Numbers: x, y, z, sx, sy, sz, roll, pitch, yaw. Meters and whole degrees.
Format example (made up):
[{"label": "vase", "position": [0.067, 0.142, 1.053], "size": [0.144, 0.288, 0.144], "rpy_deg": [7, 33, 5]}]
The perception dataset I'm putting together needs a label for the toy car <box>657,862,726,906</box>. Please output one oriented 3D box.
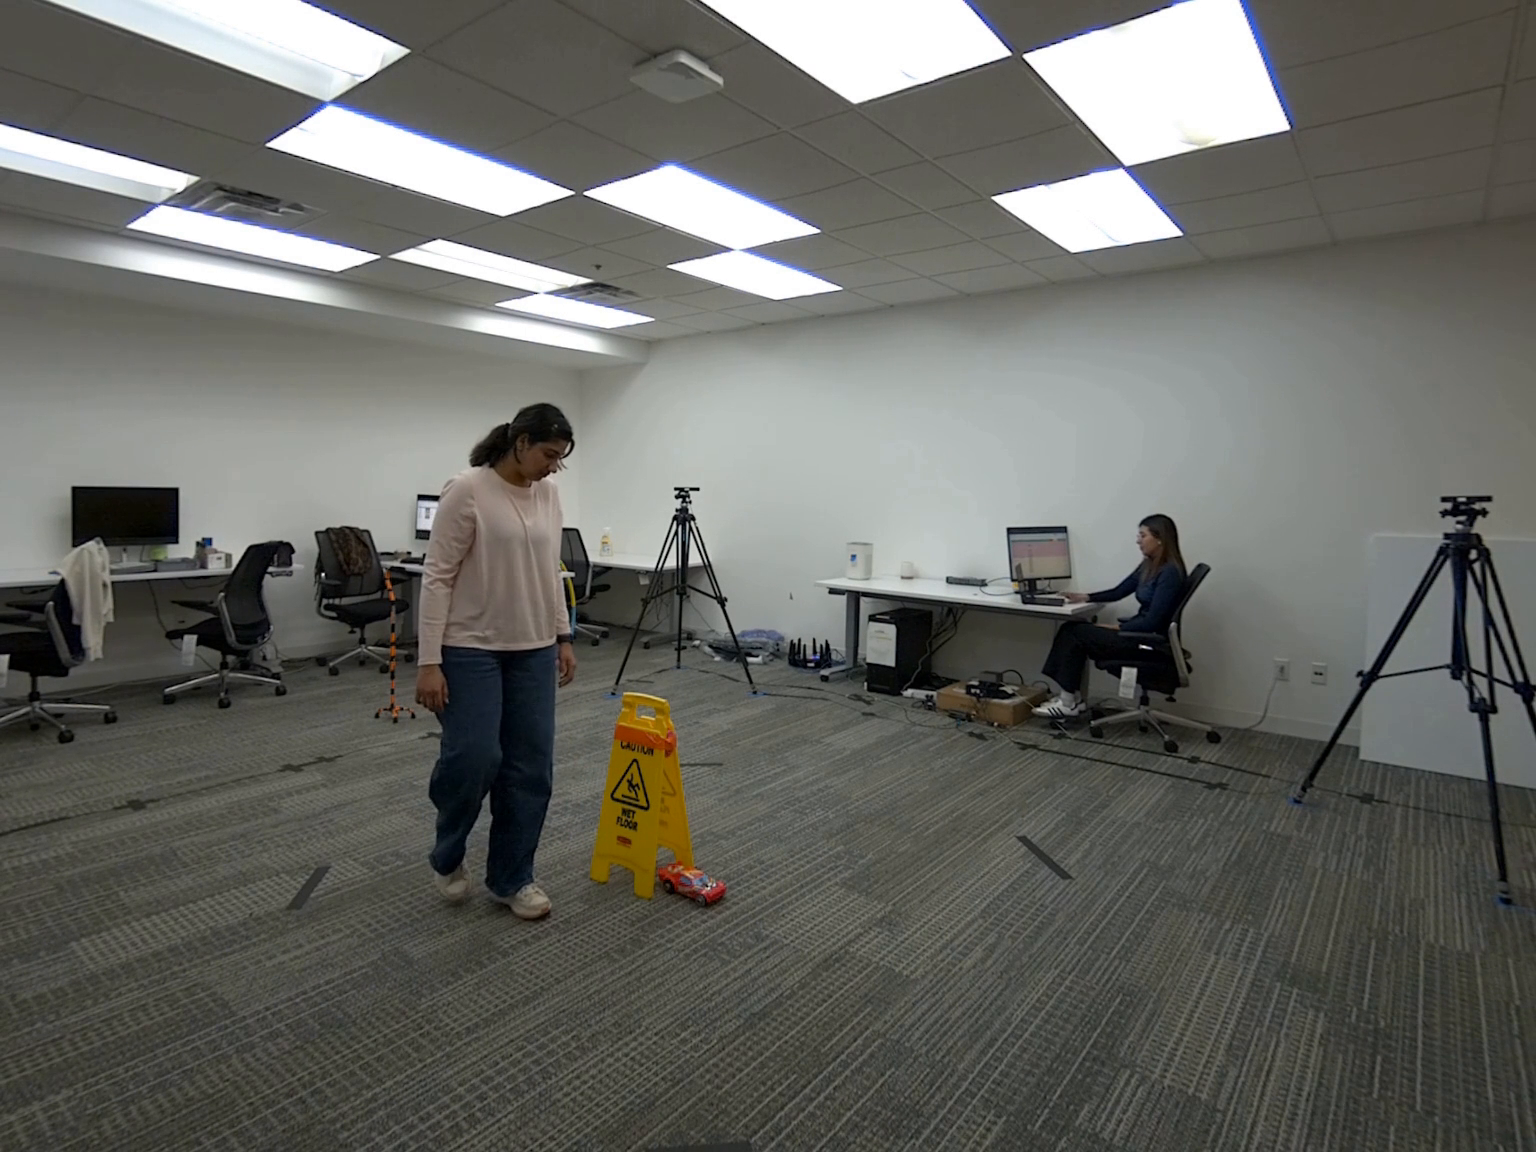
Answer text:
[{"label": "toy car", "position": [-0.276, 1.060, 2.914], "size": [0.264, 0.082, 0.127], "rpy_deg": [16, 14, 36]}]
